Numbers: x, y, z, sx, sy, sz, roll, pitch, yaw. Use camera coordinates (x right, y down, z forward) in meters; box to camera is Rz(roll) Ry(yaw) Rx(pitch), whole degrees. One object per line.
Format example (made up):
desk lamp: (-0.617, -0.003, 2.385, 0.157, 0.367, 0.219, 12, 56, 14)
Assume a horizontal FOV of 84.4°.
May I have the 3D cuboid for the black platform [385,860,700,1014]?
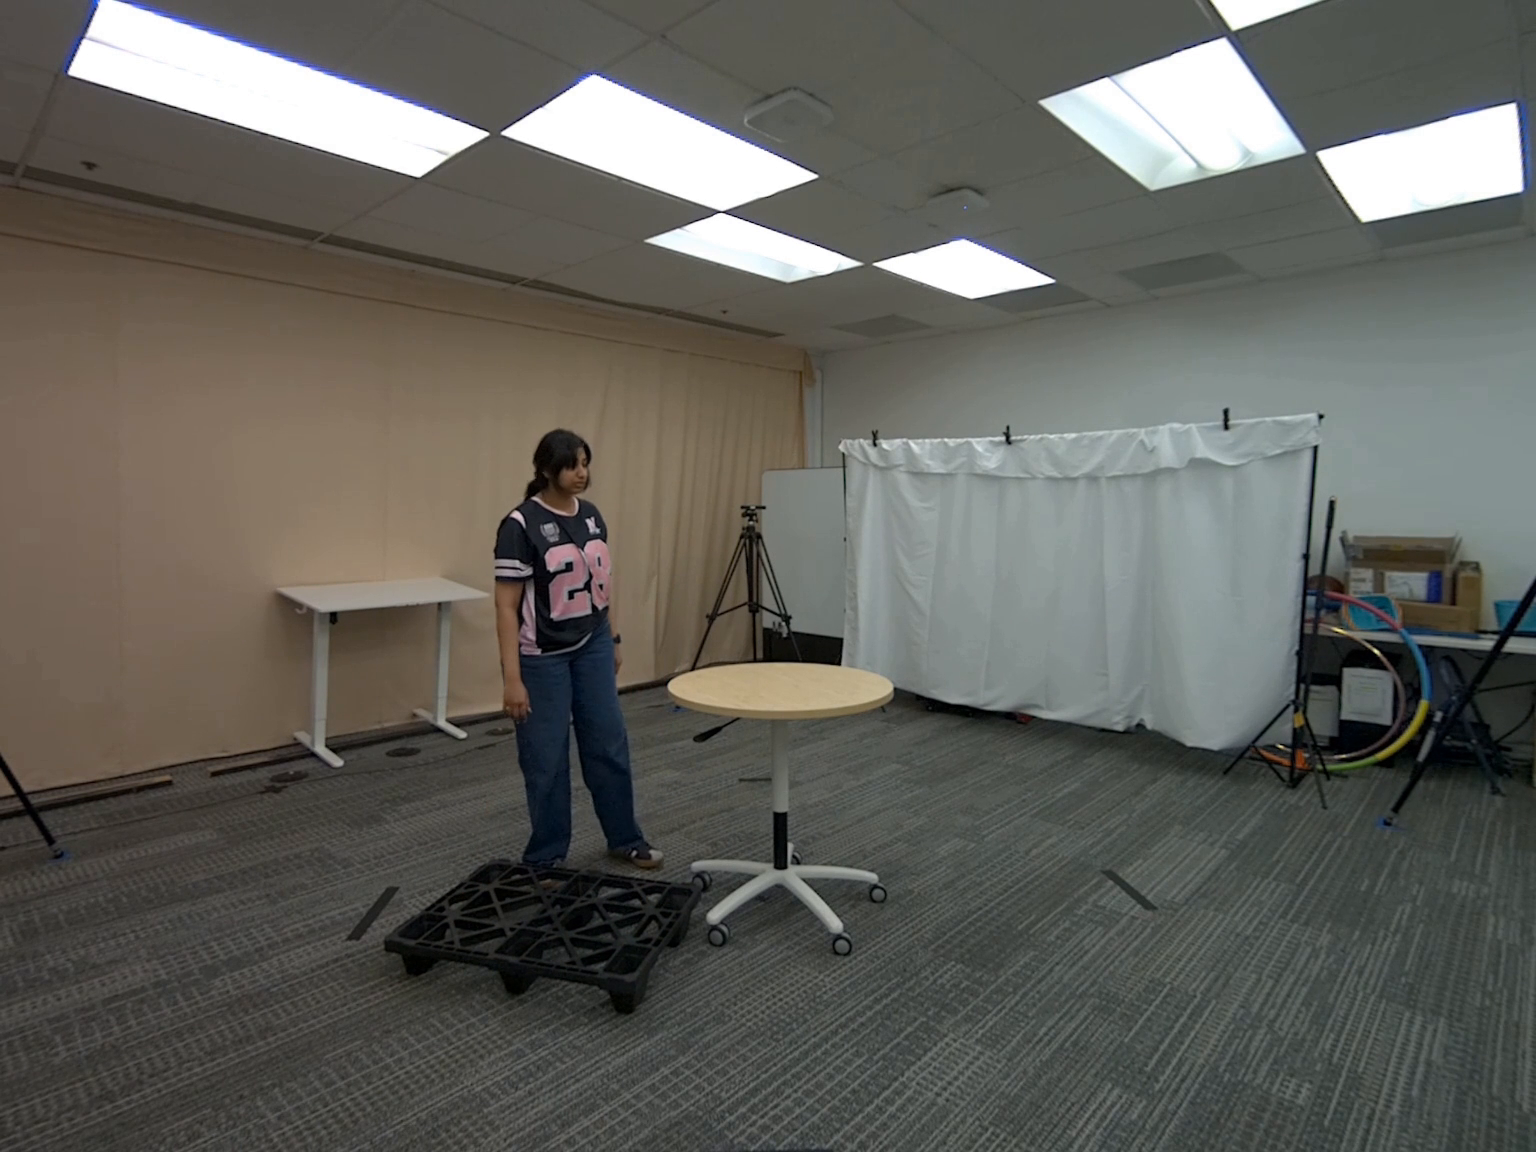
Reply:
black platform: (-0.672, 1.109, 2.635, 0.820, 0.143, 0.596, 1, 4, 16)
